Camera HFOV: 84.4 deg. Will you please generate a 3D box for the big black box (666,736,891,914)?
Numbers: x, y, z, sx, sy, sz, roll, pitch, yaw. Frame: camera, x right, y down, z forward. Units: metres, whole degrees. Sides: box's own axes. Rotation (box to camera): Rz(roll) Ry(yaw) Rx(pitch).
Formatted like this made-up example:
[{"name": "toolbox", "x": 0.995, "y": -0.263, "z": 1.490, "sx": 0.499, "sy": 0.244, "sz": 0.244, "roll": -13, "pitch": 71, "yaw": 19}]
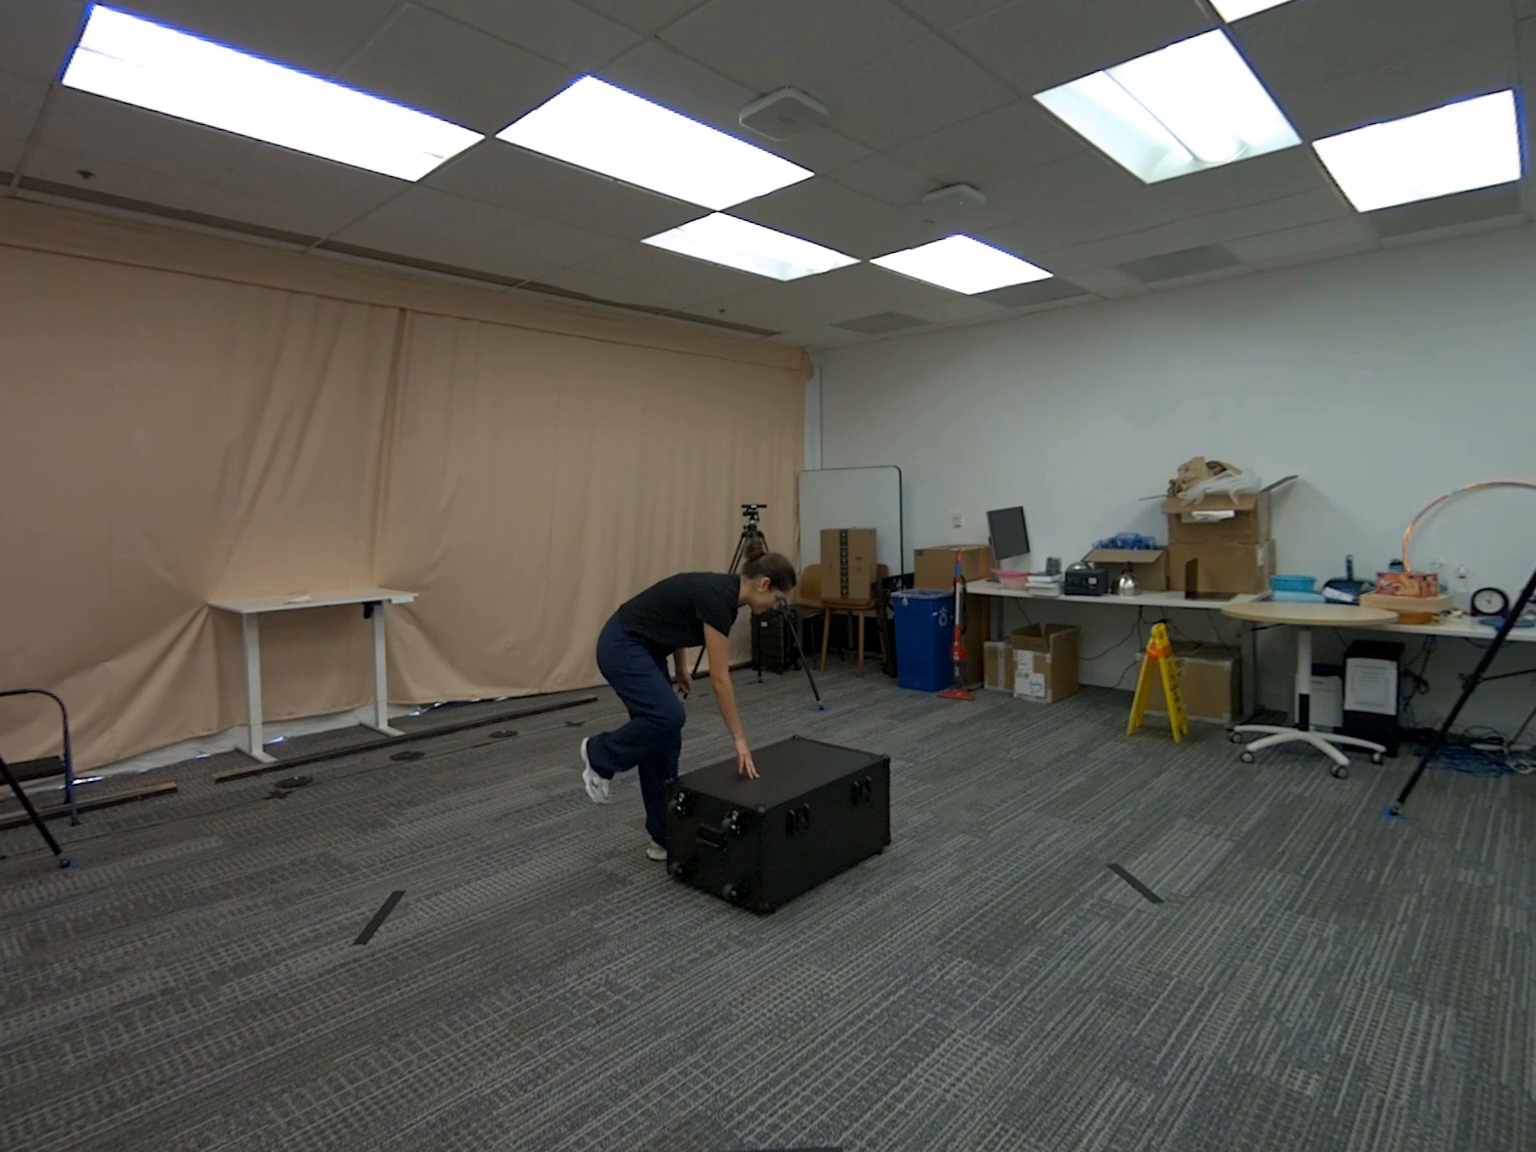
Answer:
[{"name": "big black box", "x": 0.051, "y": 0.909, "z": 3.222, "sx": 0.538, "sy": 0.395, "sz": 0.836, "roll": 3, "pitch": 7, "yaw": 42}]
